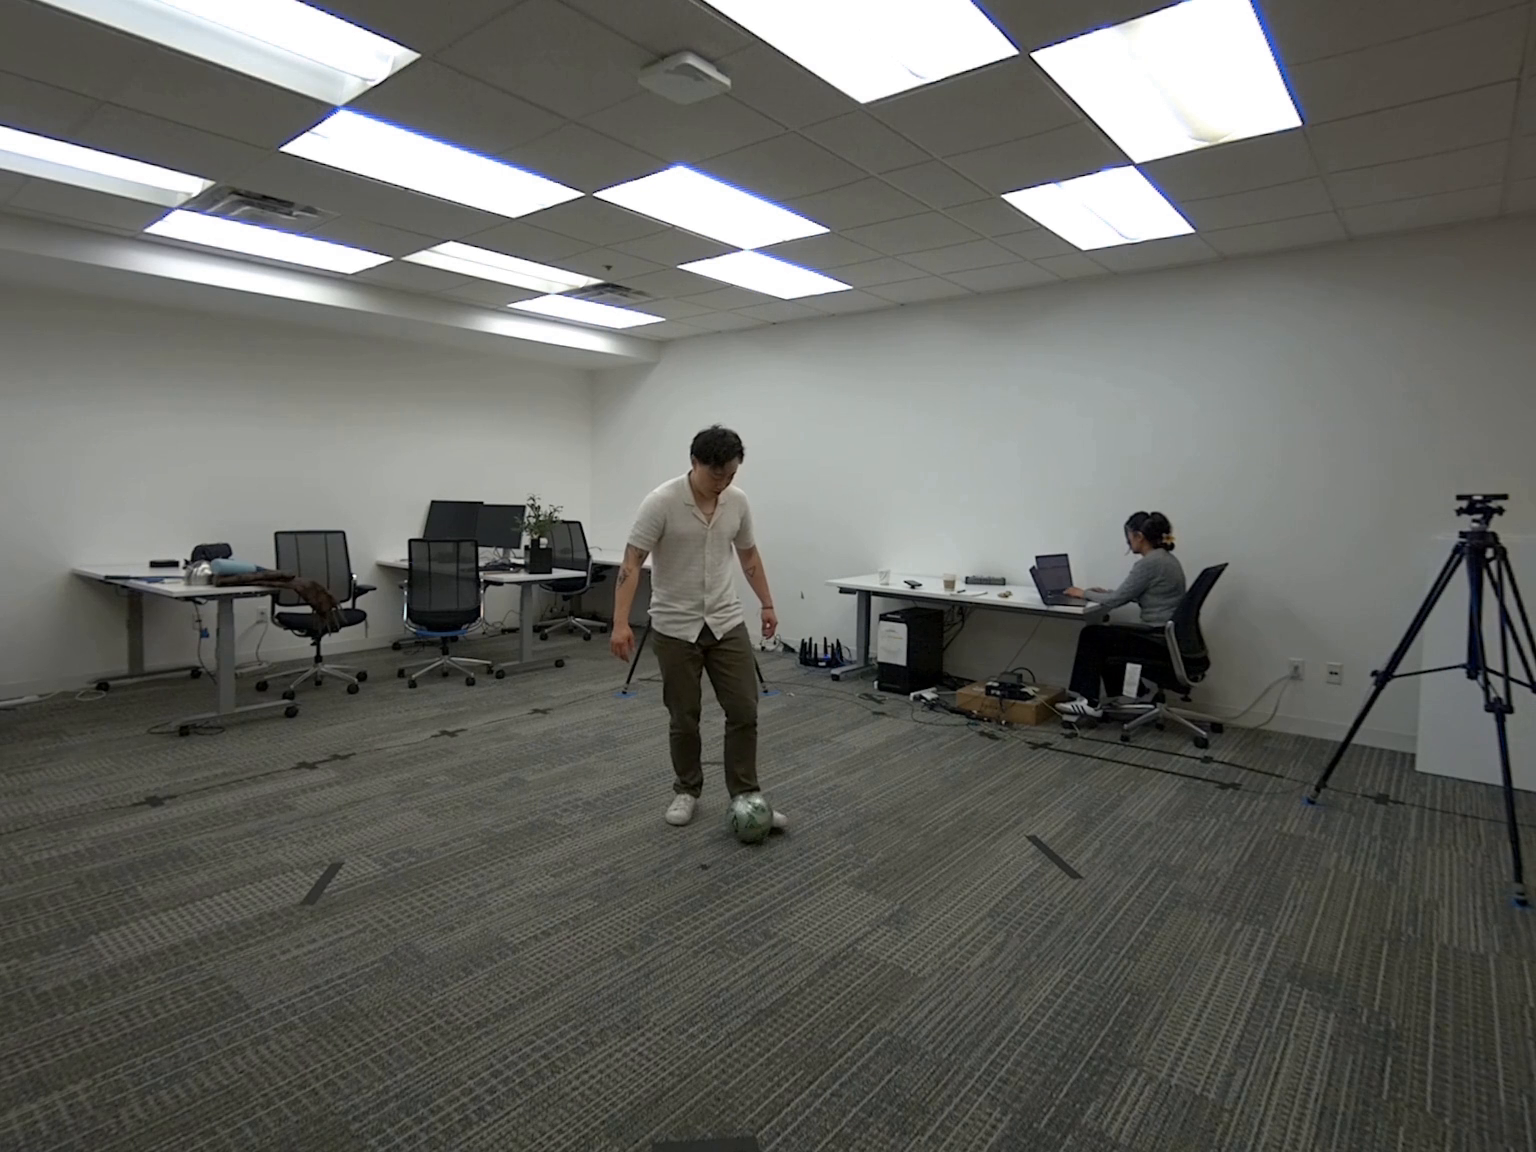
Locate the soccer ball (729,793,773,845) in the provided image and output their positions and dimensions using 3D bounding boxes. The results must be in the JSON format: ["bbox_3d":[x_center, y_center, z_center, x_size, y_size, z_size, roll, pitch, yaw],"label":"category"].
[{"bbox_3d":[-0.082,0.949,3.359,0.187,0.187,0.188,0,4,-2],"label":"soccer ball"}]
